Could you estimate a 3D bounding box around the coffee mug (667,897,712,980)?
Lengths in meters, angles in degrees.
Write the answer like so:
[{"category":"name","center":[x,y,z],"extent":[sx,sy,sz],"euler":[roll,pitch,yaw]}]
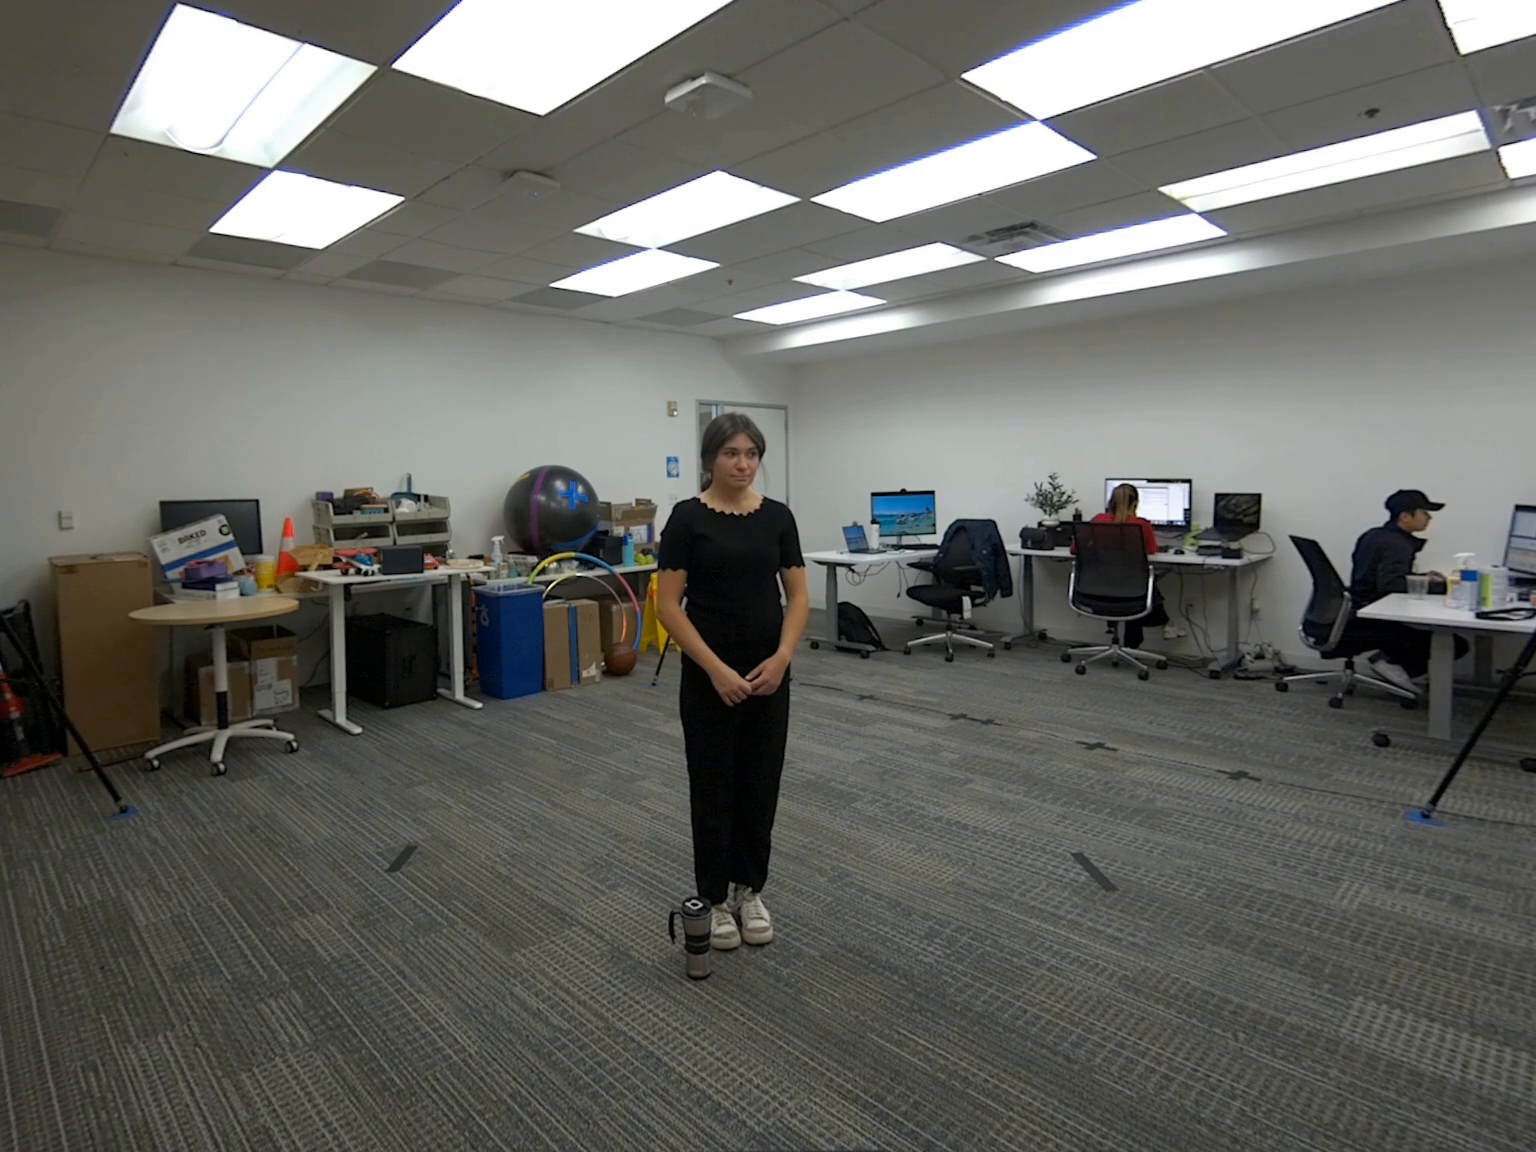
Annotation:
[{"category":"coffee mug","center":[-0.215,1.034,2.428],"extent":[0.125,0.201,0.086],"euler":[4,9,36]}]
